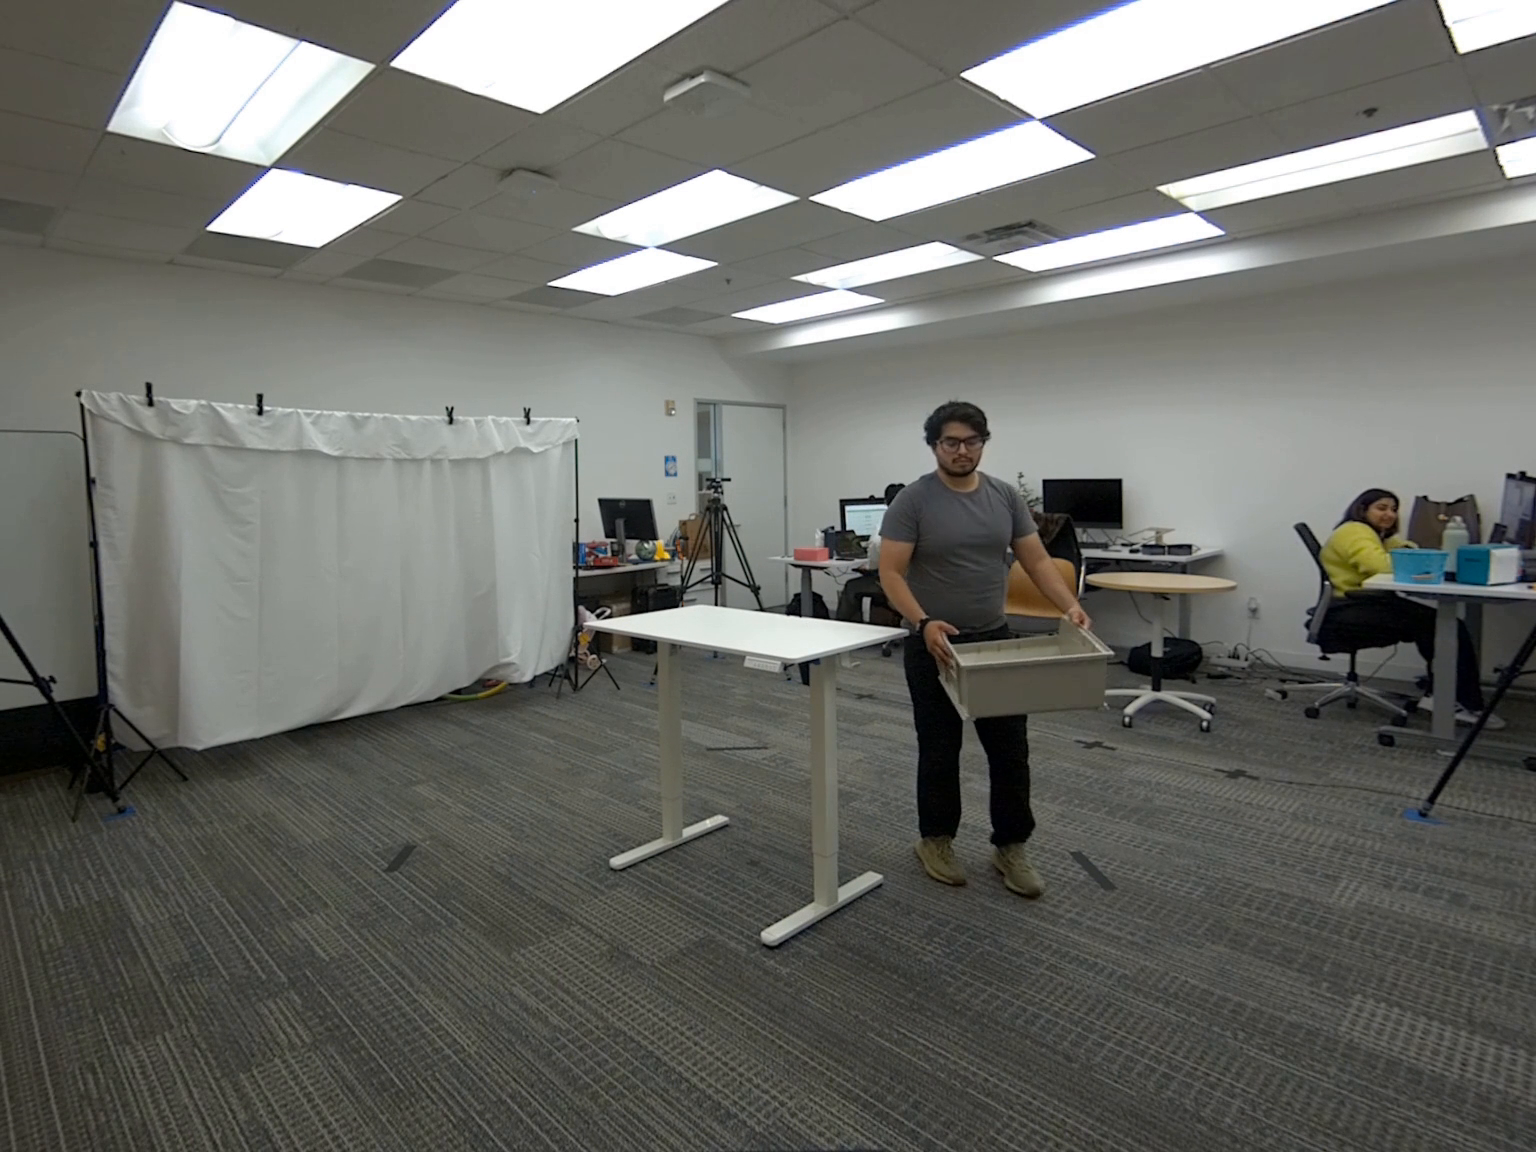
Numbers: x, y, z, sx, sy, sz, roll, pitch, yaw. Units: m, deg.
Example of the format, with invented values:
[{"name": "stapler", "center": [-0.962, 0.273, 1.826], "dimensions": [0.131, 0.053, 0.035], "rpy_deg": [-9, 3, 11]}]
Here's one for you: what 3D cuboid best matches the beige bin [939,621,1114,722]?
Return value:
[{"name": "beige bin", "center": [0.746, 0.260, 2.586], "dimensions": [0.422, 0.186, 0.383], "rpy_deg": [-3, 17, 0]}]
